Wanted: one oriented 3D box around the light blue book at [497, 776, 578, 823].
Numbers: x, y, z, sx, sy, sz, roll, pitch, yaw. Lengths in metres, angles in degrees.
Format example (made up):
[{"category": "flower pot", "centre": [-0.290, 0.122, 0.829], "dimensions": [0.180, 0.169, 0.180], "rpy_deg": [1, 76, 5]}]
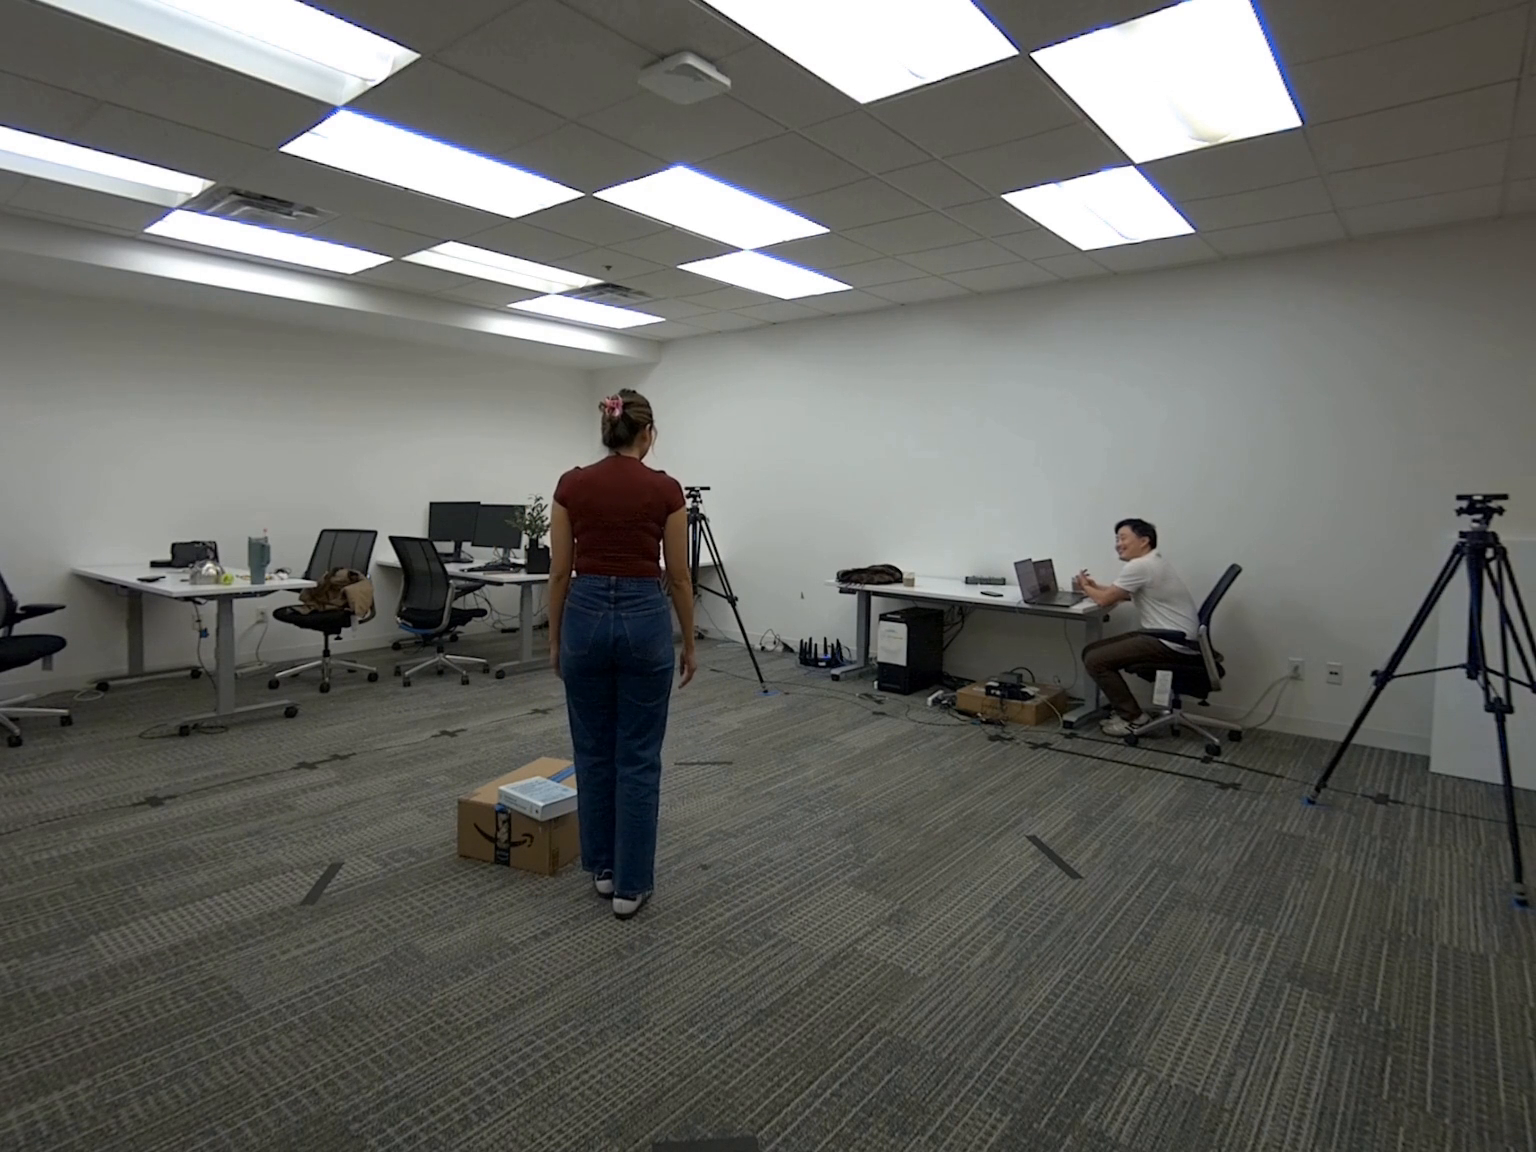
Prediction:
[{"category": "light blue book", "centre": [-0.848, 0.809, 3.122], "dimensions": [0.270, 0.059, 0.185], "rpy_deg": [6, 6, 38]}]
